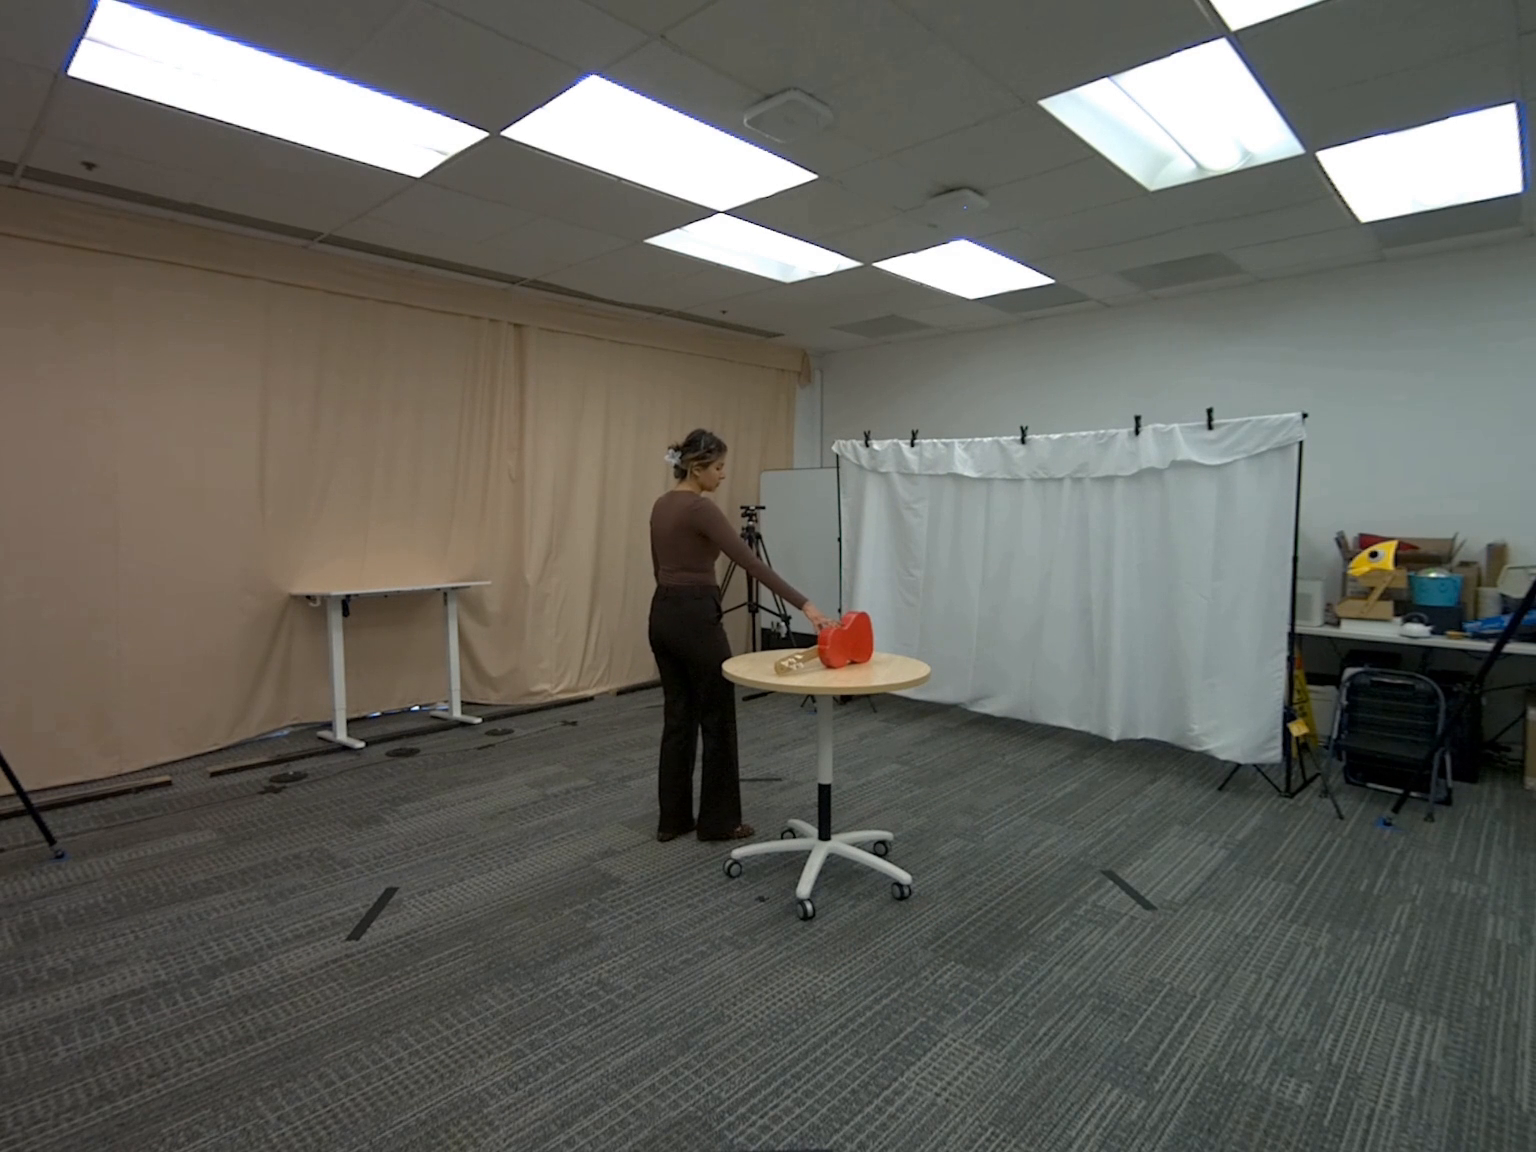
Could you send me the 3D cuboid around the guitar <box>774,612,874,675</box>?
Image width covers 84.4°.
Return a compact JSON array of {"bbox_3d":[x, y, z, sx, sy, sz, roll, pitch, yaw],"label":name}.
[{"bbox_3d":[0.220,0.296,3.080,0.073,0.190,0.488,3,22,45],"label":"guitar"}]
